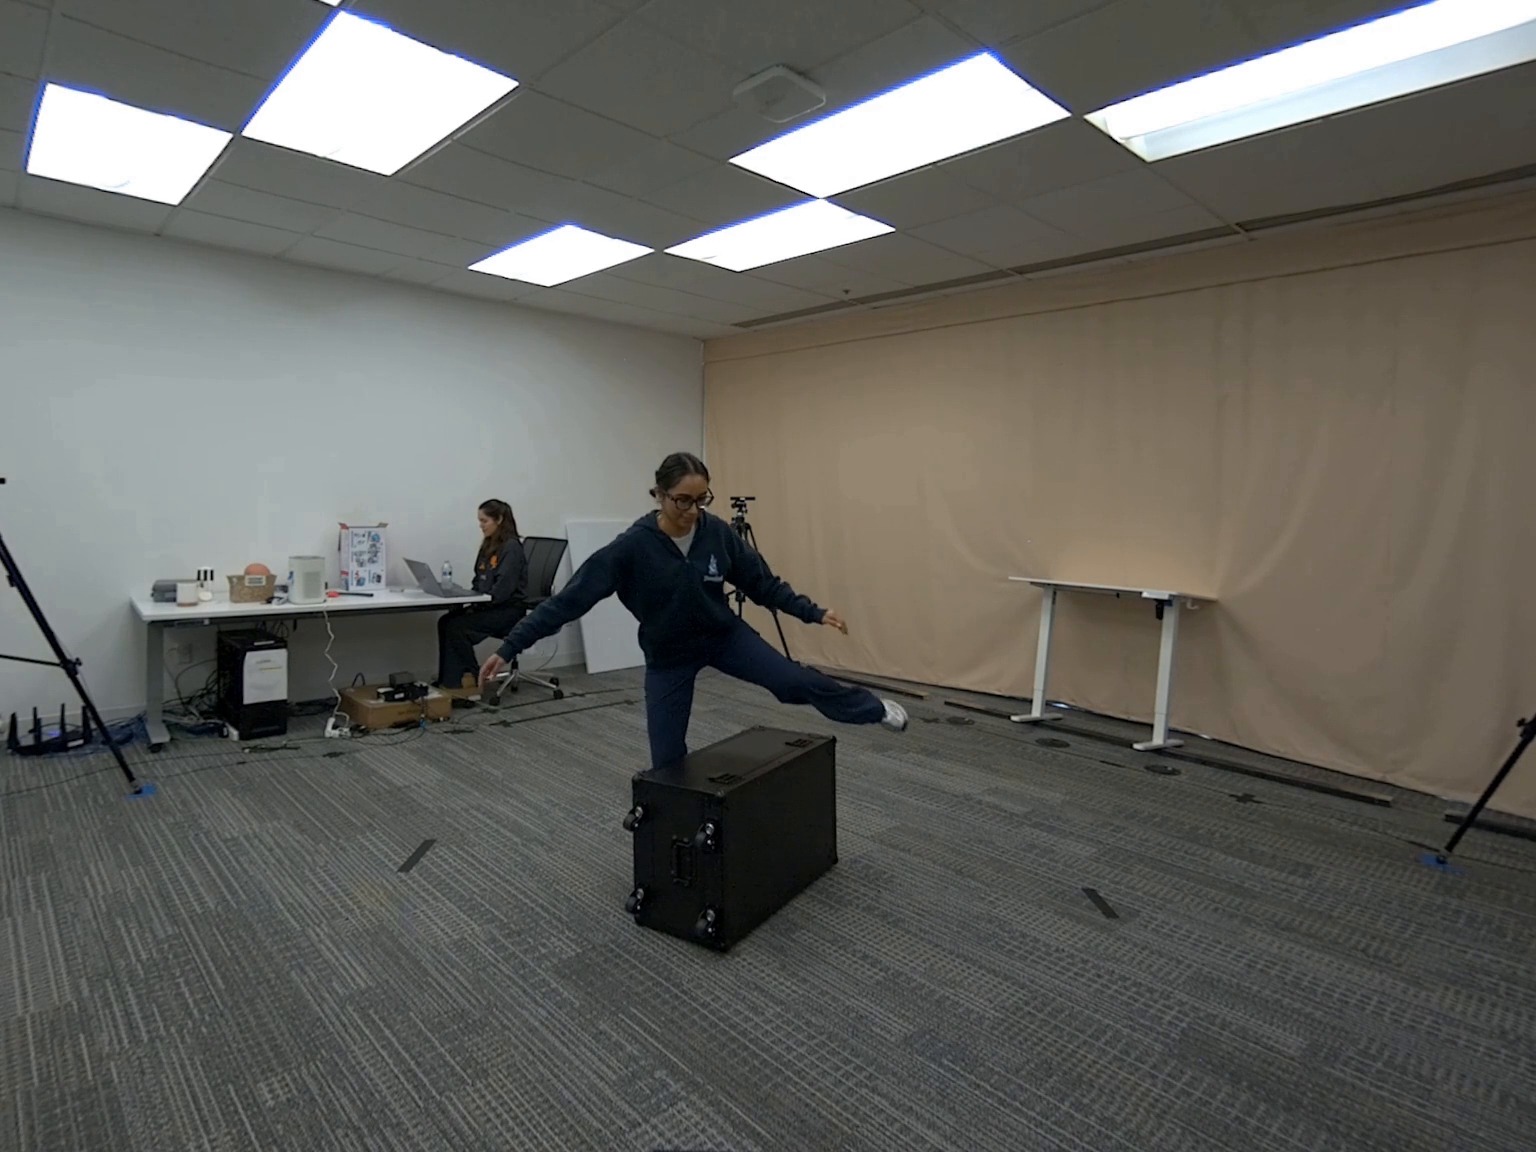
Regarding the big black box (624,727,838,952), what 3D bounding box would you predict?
[{"bbox_3d":[-0.118,0.869,2.941,0.405,0.520,0.845,1,4,30],"label":"big black box"}]
